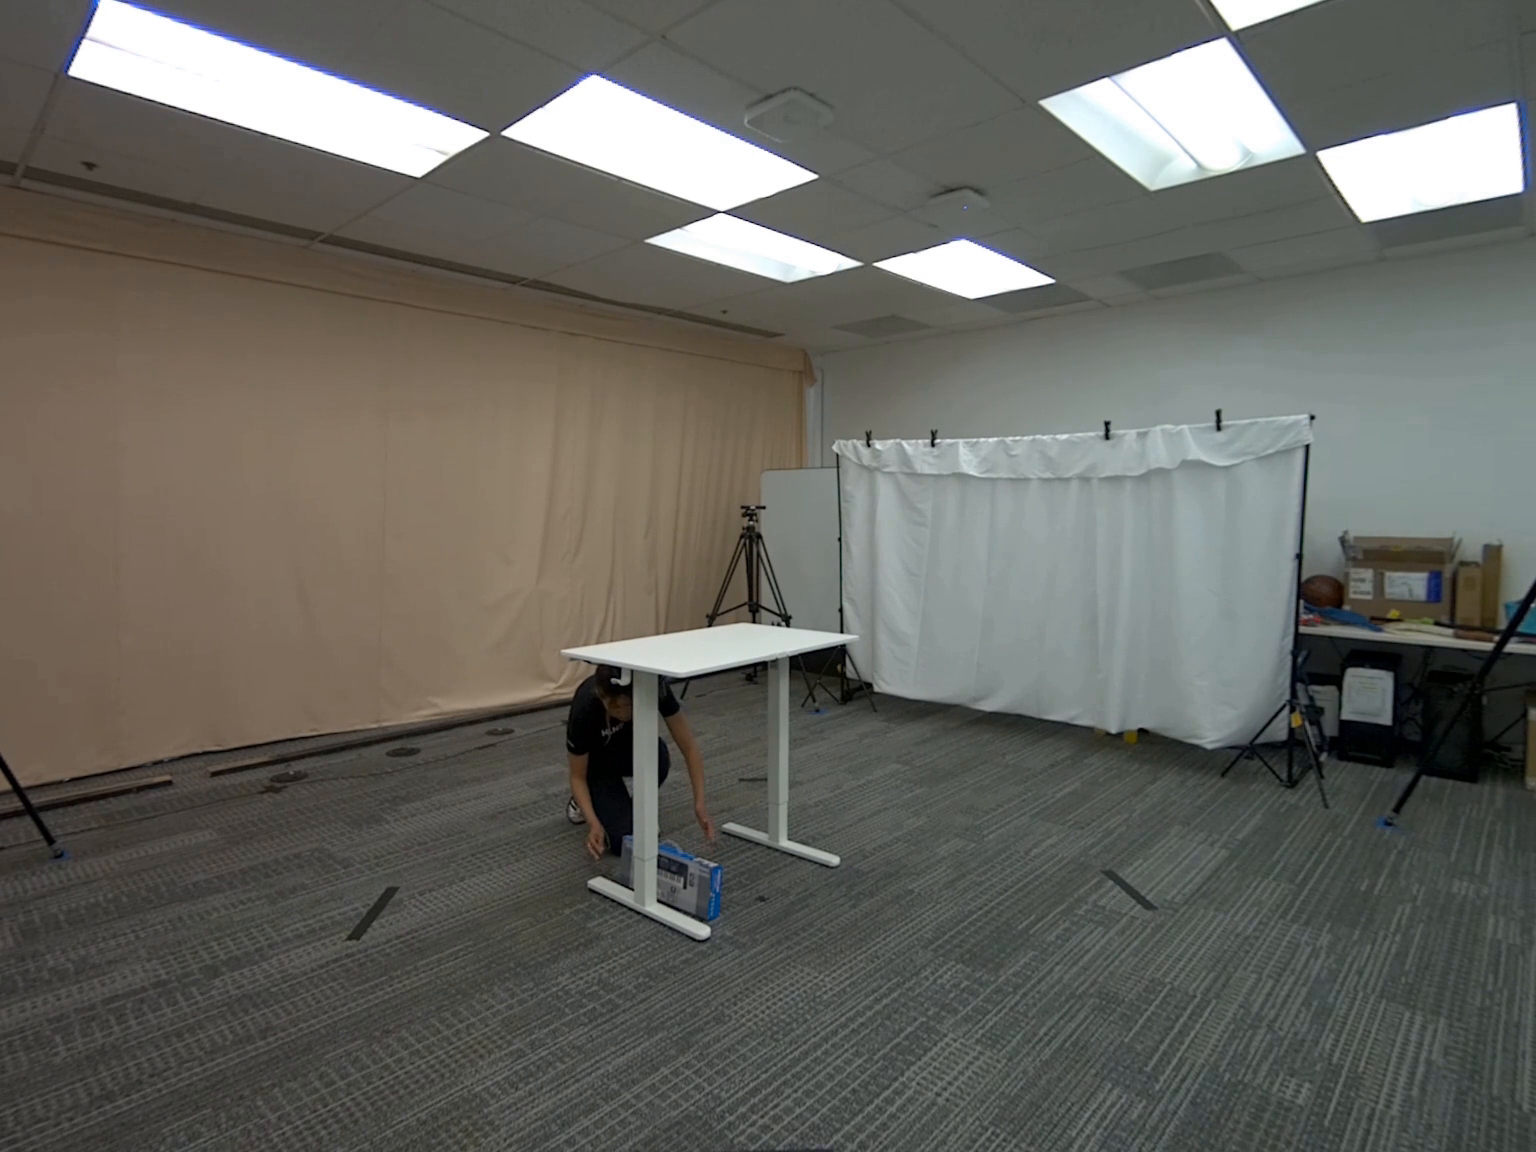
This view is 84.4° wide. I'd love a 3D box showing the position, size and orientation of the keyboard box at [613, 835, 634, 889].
[{"bbox_3d":[-0.351,1.059,2.972,0.451,0.176,0.057,3,-4,39],"label":"keyboard box"}]
